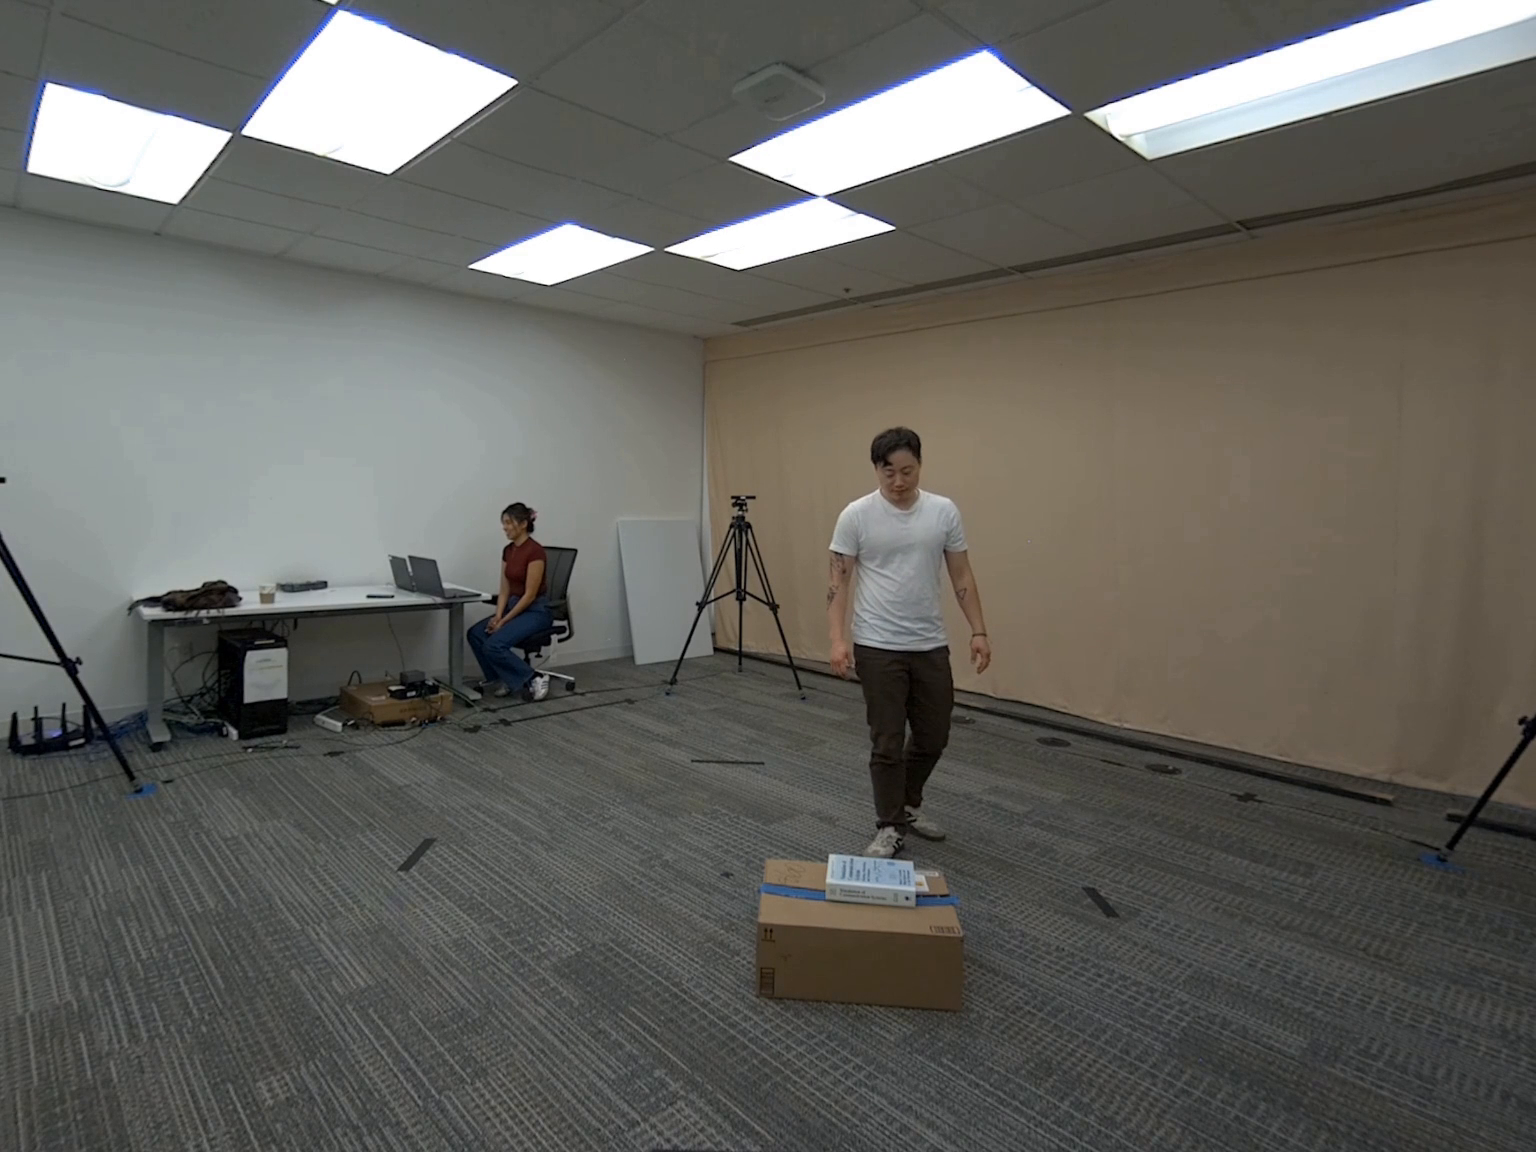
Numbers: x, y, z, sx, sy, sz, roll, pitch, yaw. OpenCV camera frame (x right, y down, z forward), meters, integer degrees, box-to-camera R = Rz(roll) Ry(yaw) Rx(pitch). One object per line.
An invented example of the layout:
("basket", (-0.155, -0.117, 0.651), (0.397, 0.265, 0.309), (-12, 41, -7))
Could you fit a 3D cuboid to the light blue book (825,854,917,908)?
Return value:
("light blue book", (0.304, 0.927, 2.558), (0.263, 0.059, 0.191), (2, 6, 9))
